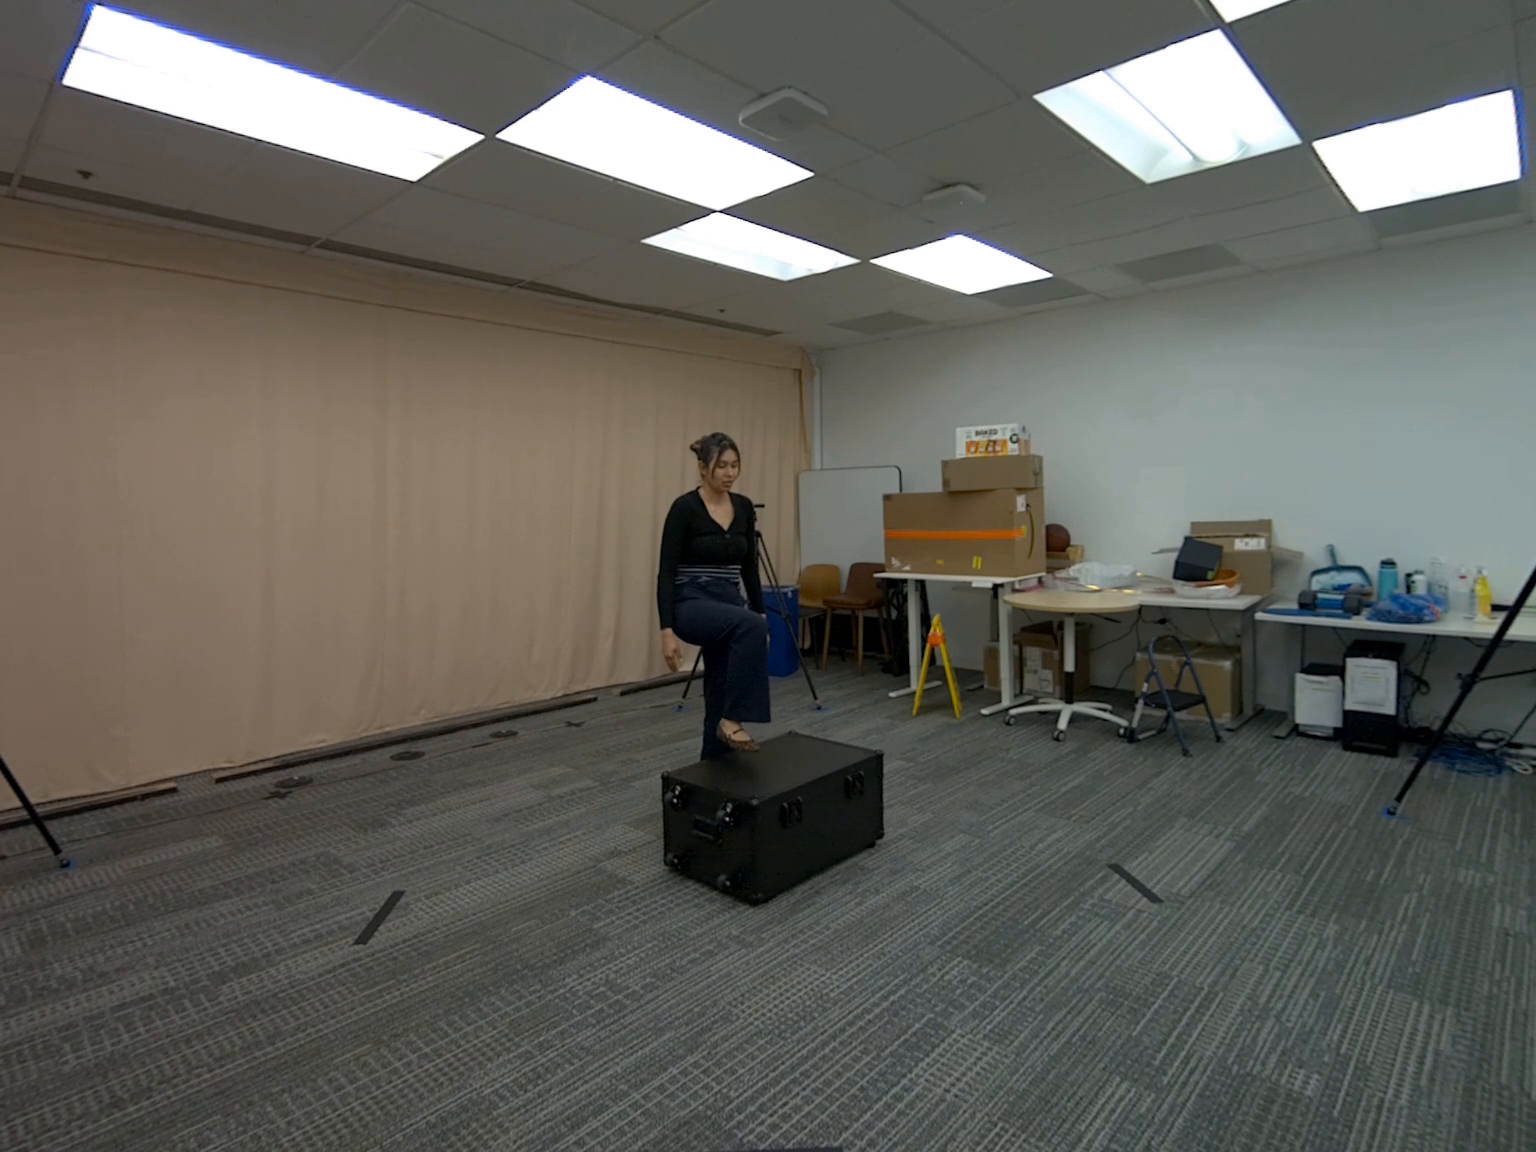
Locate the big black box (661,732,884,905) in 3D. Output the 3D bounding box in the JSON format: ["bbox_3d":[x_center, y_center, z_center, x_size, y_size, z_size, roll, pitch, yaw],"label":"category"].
[{"bbox_3d":[0.059,0.916,3.334,0.538,0.395,0.836,3,7,43],"label":"big black box"}]
